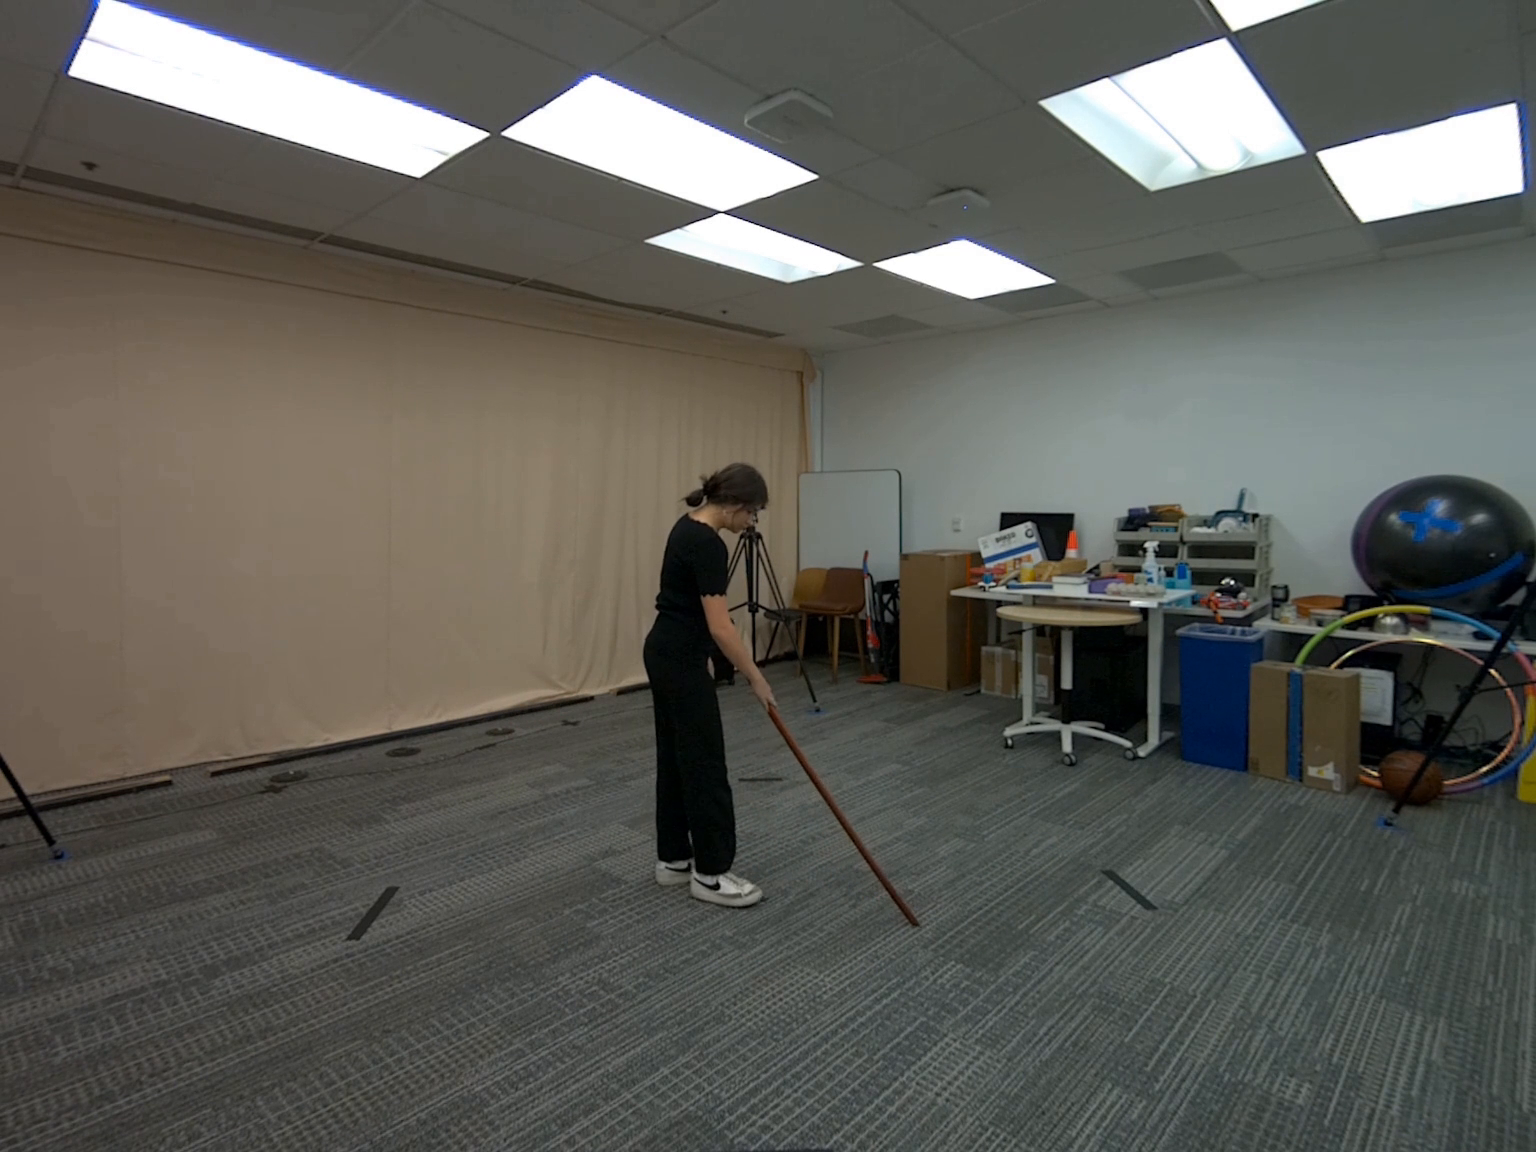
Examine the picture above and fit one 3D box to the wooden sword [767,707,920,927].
[{"bbox_3d":[0.212,0.757,2.900,0.052,1.040,0.023,-42,-14,22],"label":"wooden sword"}]
